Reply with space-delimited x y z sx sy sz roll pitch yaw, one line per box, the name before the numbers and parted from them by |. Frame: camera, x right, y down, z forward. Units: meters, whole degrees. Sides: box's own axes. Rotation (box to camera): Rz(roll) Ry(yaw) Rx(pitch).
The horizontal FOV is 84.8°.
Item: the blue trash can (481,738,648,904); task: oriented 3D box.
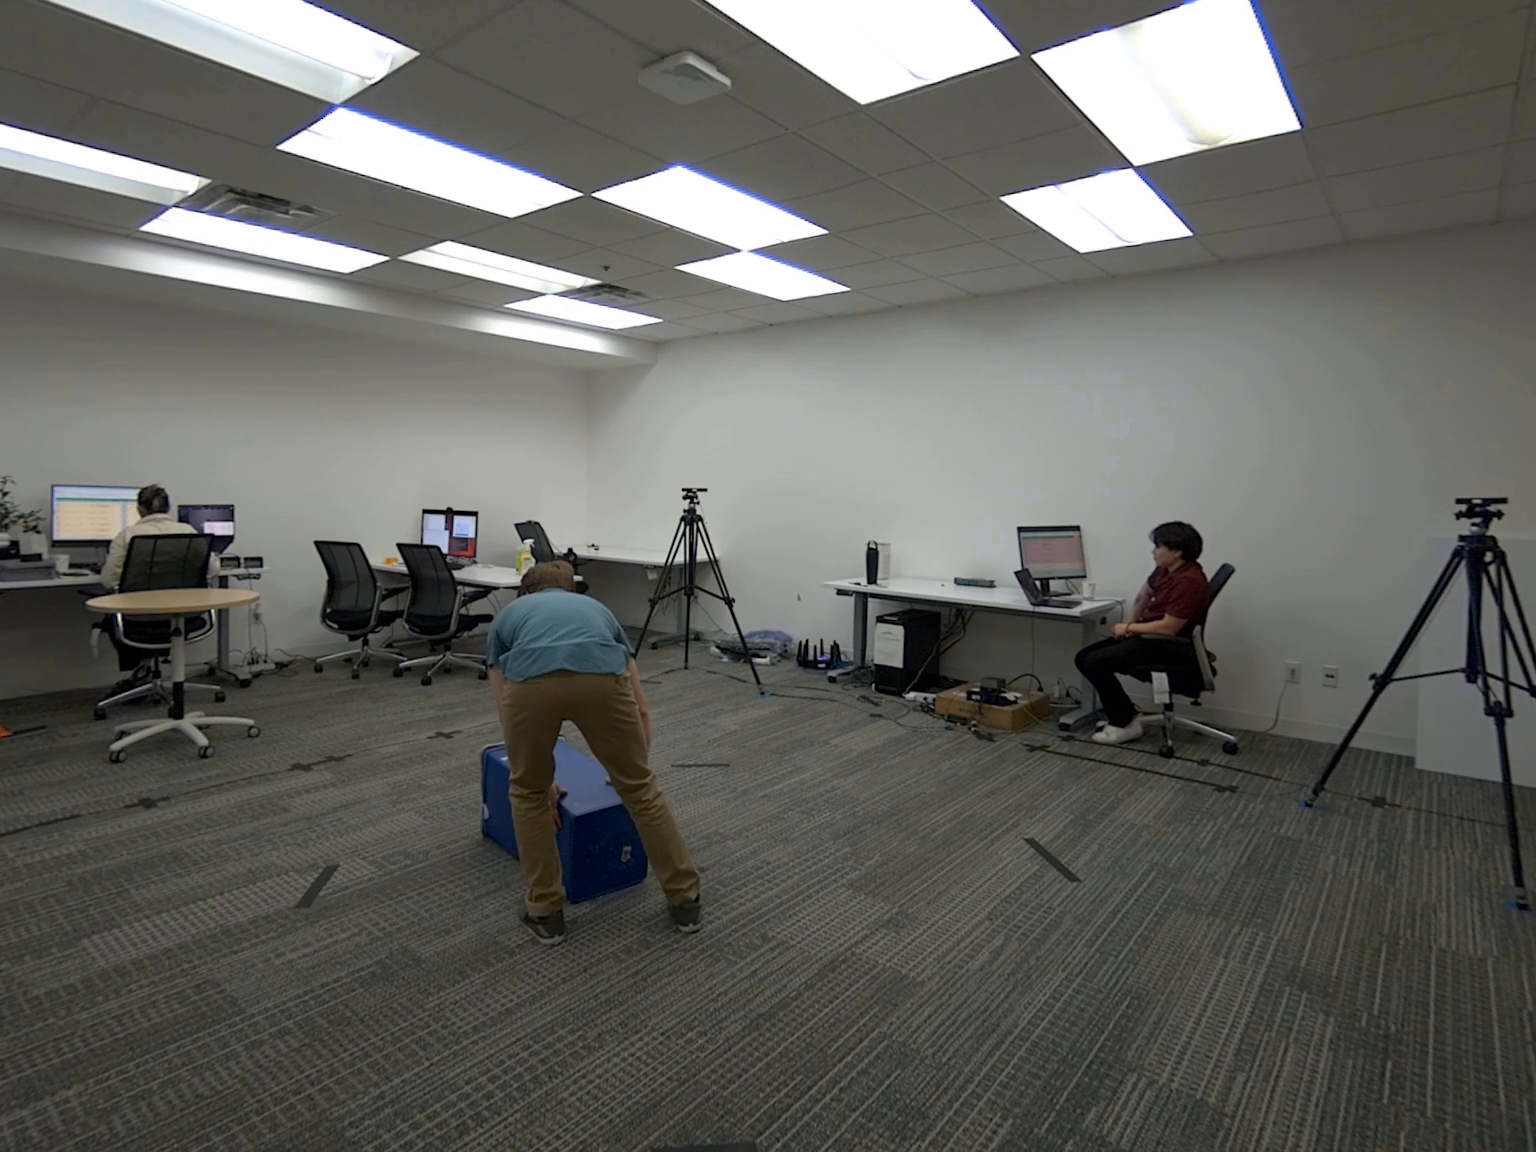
blue trash can | -0.776 0.888 3.181 0.363 0.376 0.739 -3 9 -40
